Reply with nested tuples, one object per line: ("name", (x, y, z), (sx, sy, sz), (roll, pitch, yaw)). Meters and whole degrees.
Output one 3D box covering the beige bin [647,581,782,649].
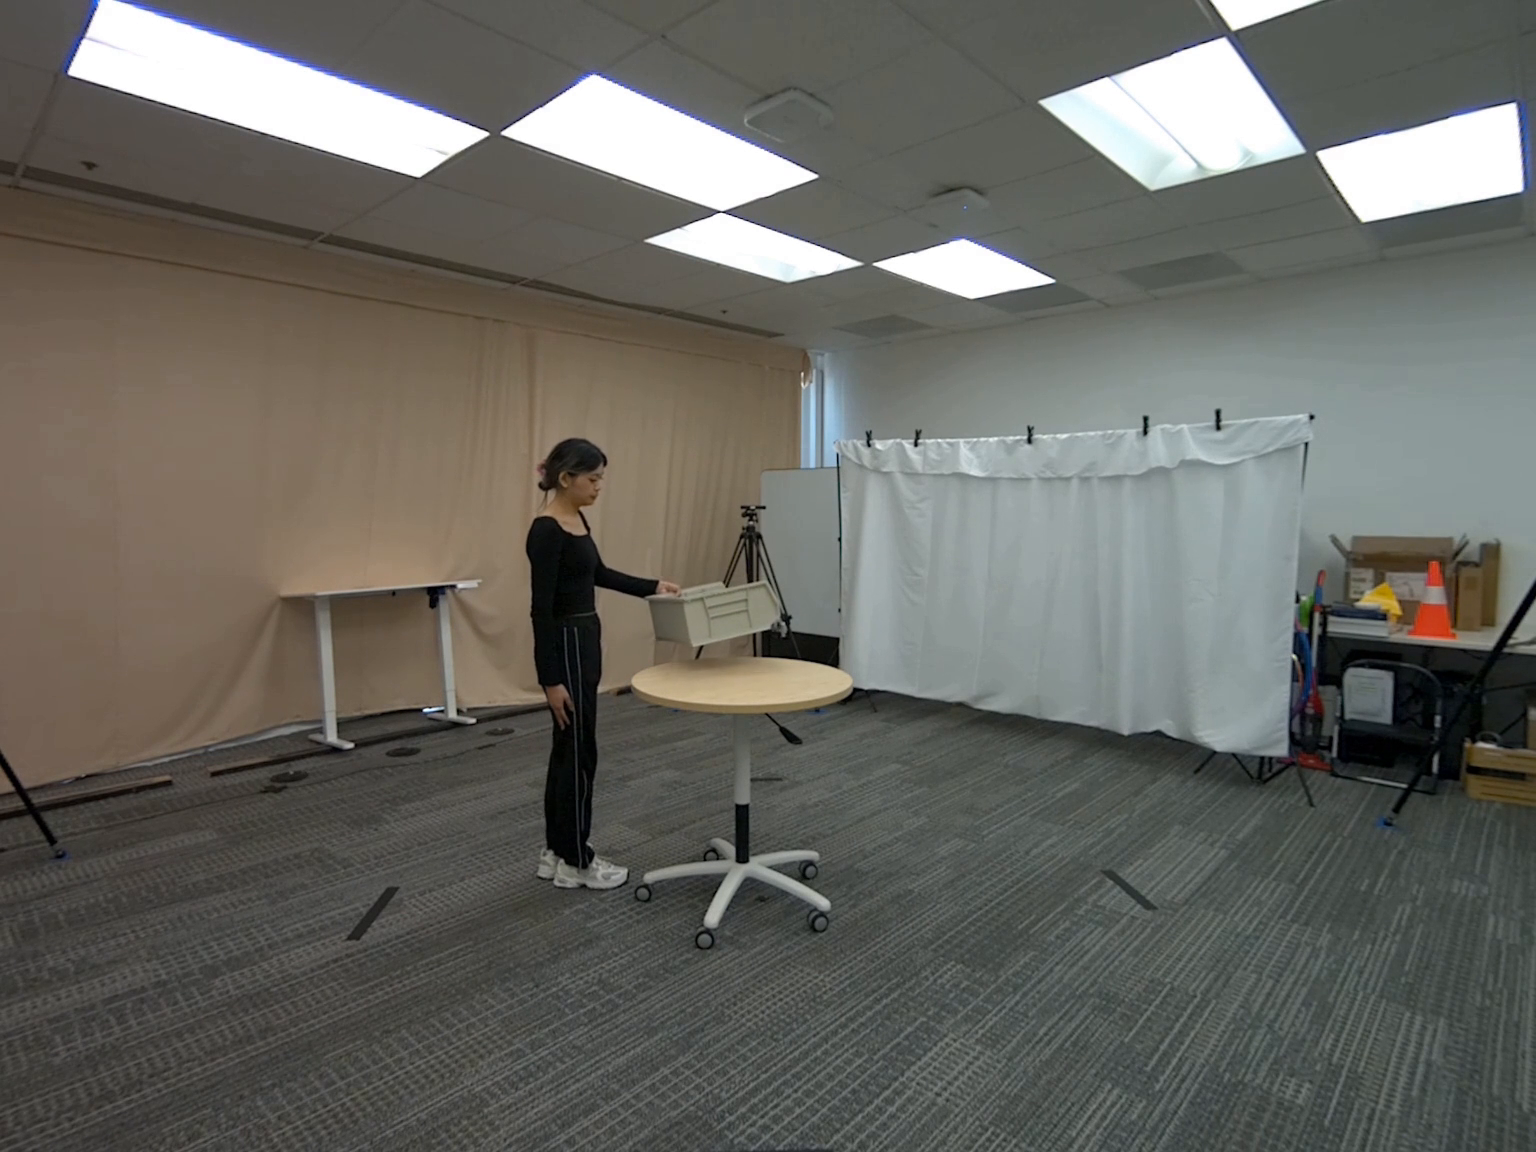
("beige bin", (-0.214, 0.138, 3.227), (0.369, 0.188, 0.432), (-13, 5, -26))
